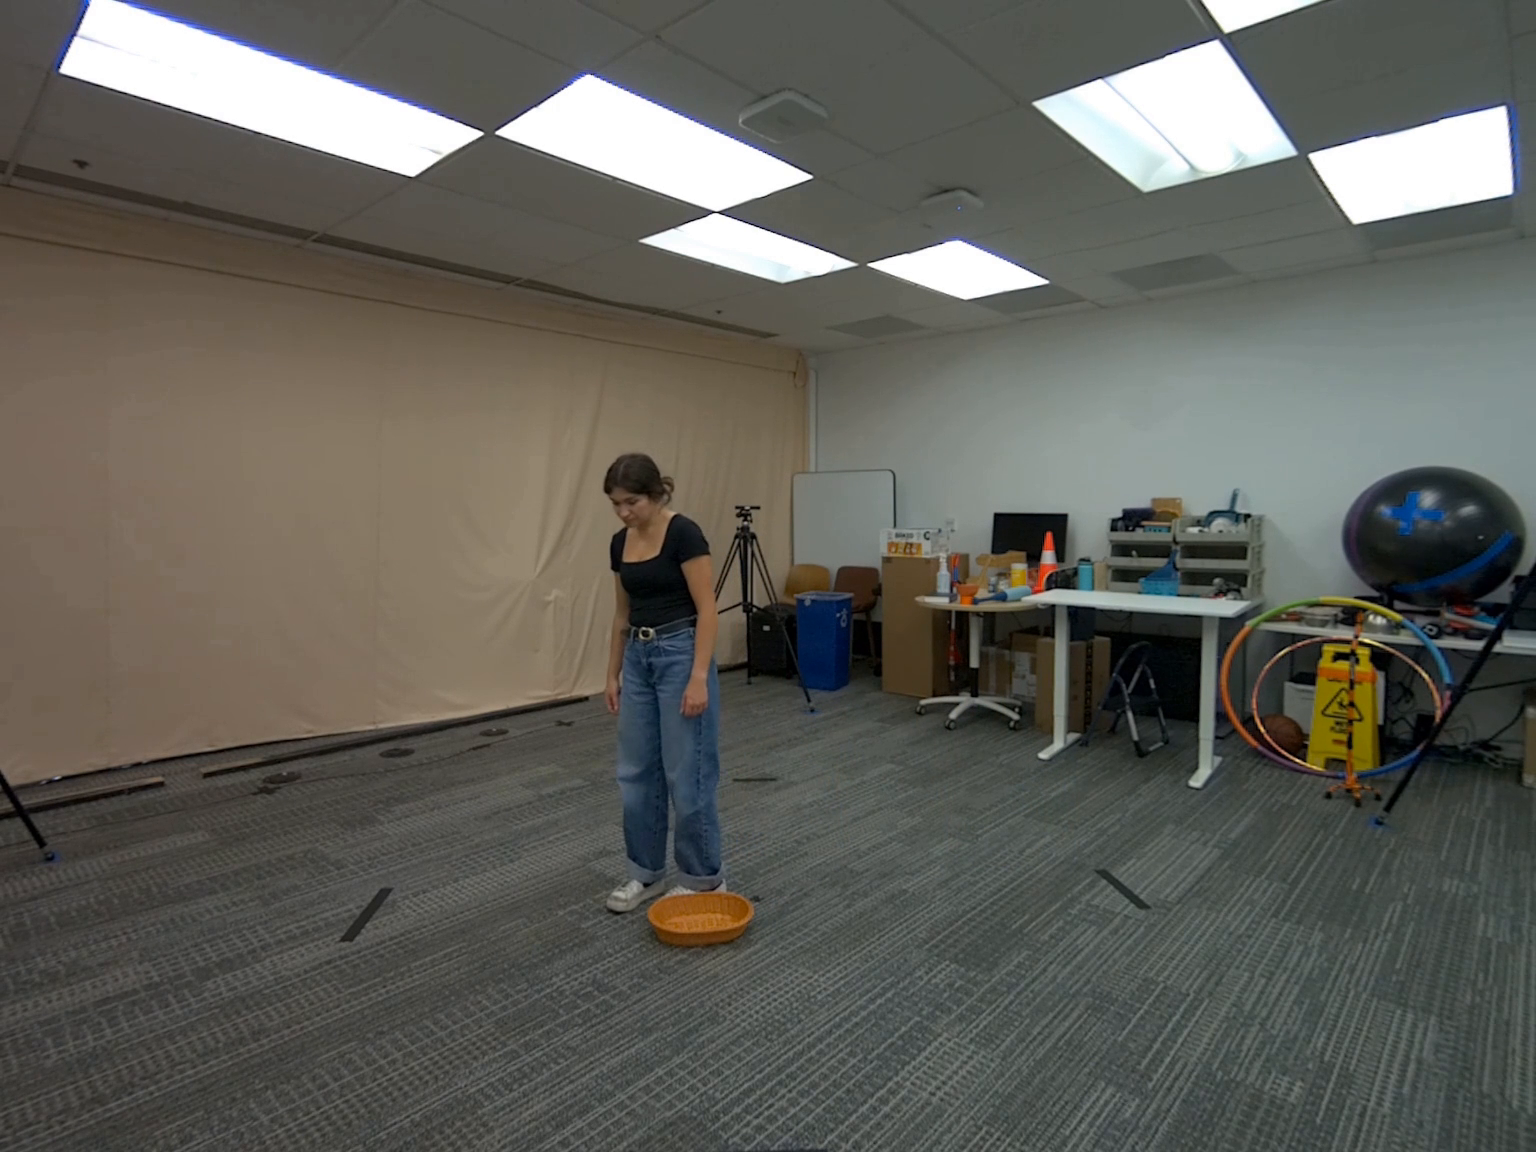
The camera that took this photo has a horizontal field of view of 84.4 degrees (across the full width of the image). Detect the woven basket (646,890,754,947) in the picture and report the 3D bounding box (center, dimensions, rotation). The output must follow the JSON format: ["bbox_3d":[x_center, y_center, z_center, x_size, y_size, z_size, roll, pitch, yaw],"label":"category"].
[{"bbox_3d":[-0.215,1.126,2.749,0.347,0.073,0.256,-1,6,-10],"label":"woven basket"}]
